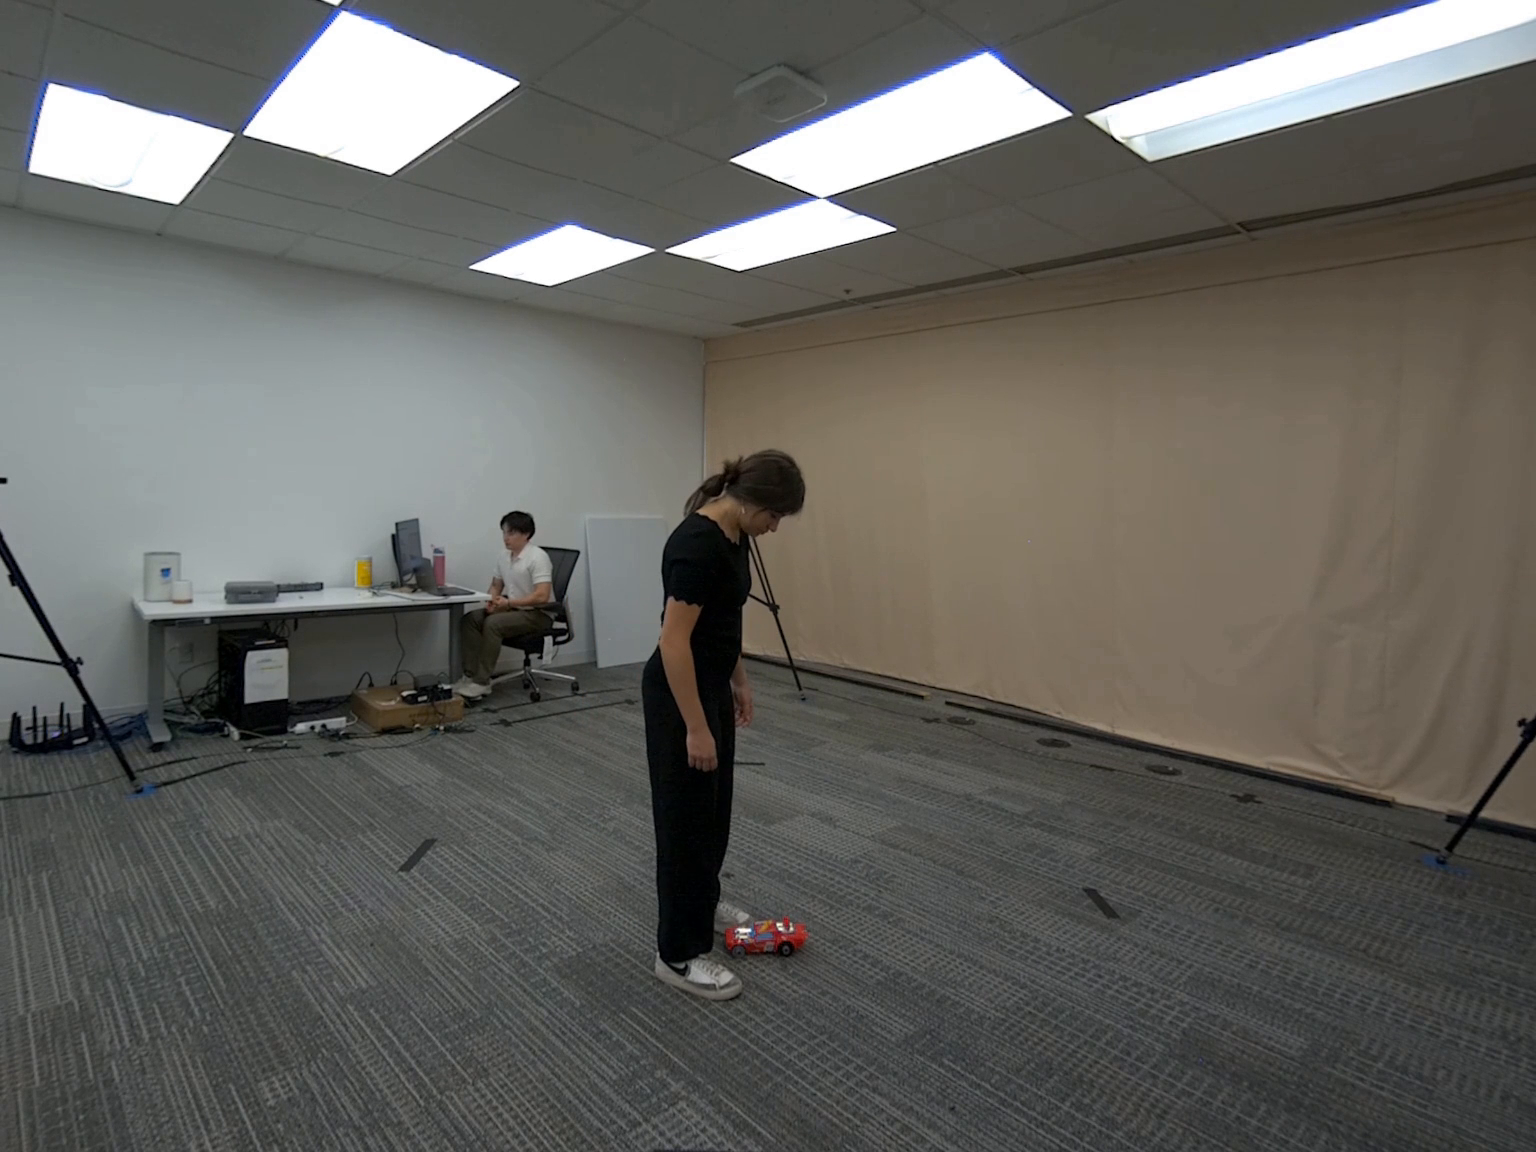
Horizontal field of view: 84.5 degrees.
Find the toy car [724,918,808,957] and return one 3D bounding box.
[{"bbox_3d":[-0.010,1.123,2.600,0.253,0.083,0.131,-11,7,-7],"label":"toy car"}]
